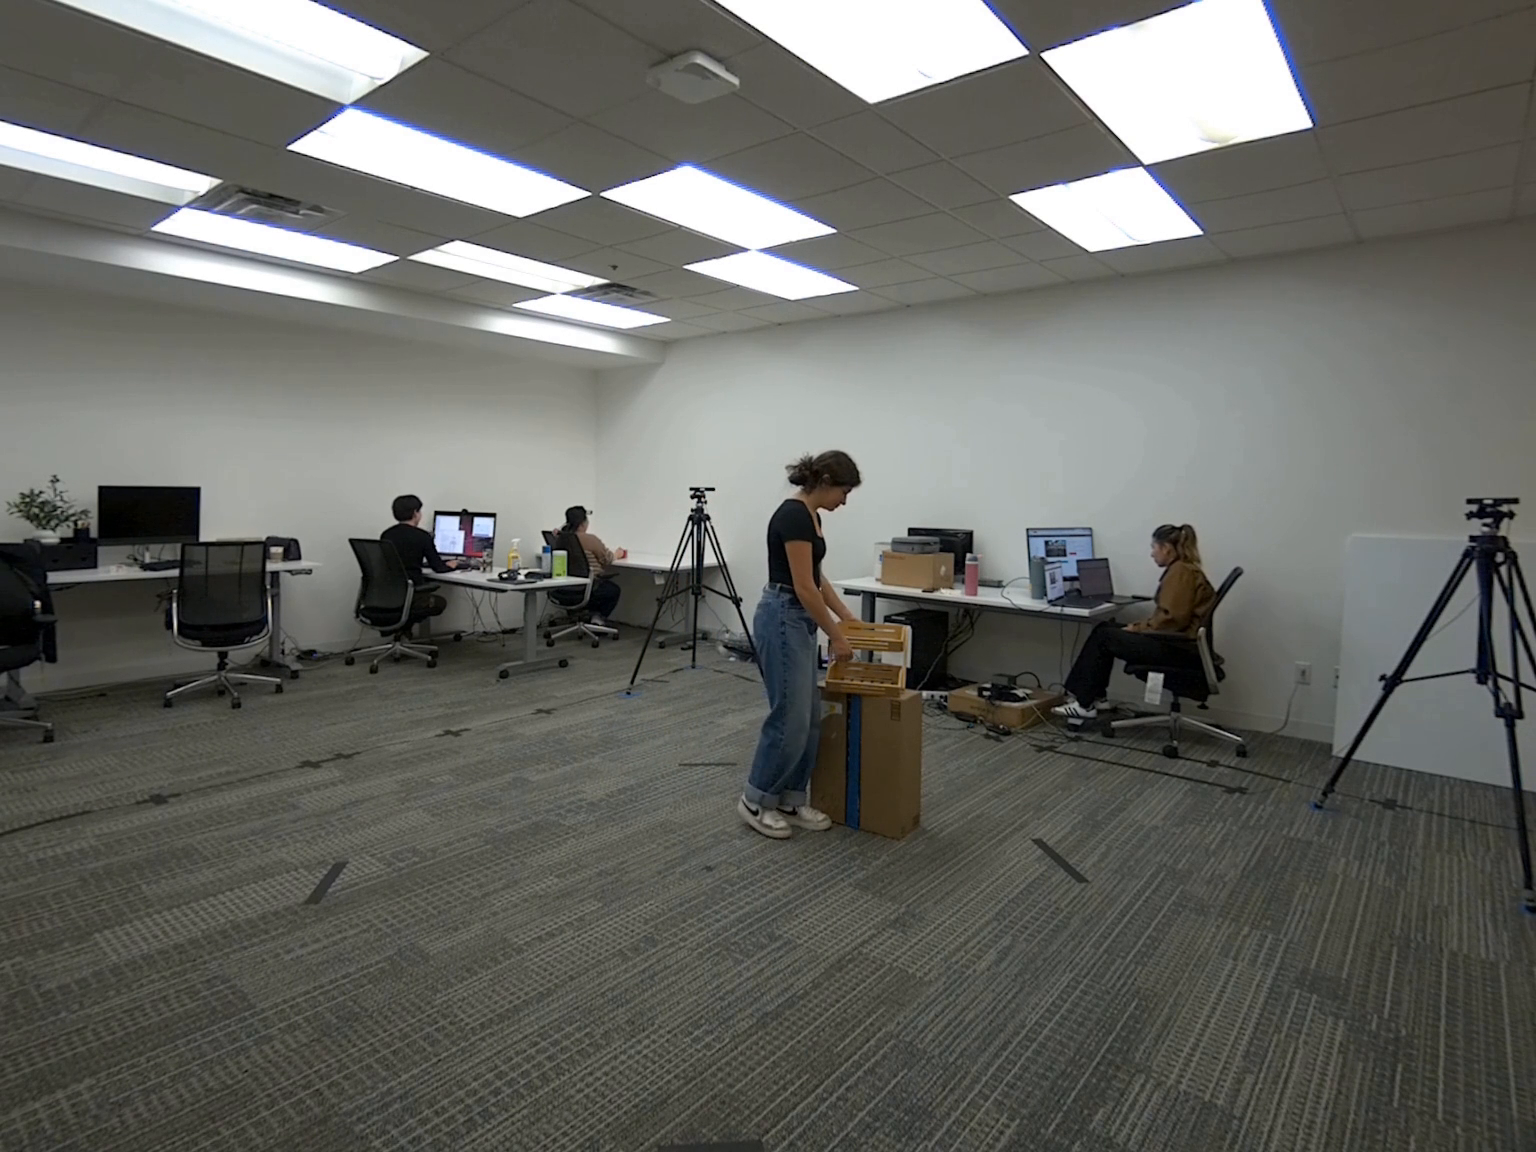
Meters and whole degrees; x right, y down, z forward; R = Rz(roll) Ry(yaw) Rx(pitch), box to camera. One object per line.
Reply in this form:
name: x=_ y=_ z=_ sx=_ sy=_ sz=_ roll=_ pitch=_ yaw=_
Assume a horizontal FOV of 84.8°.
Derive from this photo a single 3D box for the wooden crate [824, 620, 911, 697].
wooden crate: x=0.407 y=0.335 z=3.563 sx=0.330 sy=0.273 sz=0.297 roll=2 pitch=2 yaw=15
